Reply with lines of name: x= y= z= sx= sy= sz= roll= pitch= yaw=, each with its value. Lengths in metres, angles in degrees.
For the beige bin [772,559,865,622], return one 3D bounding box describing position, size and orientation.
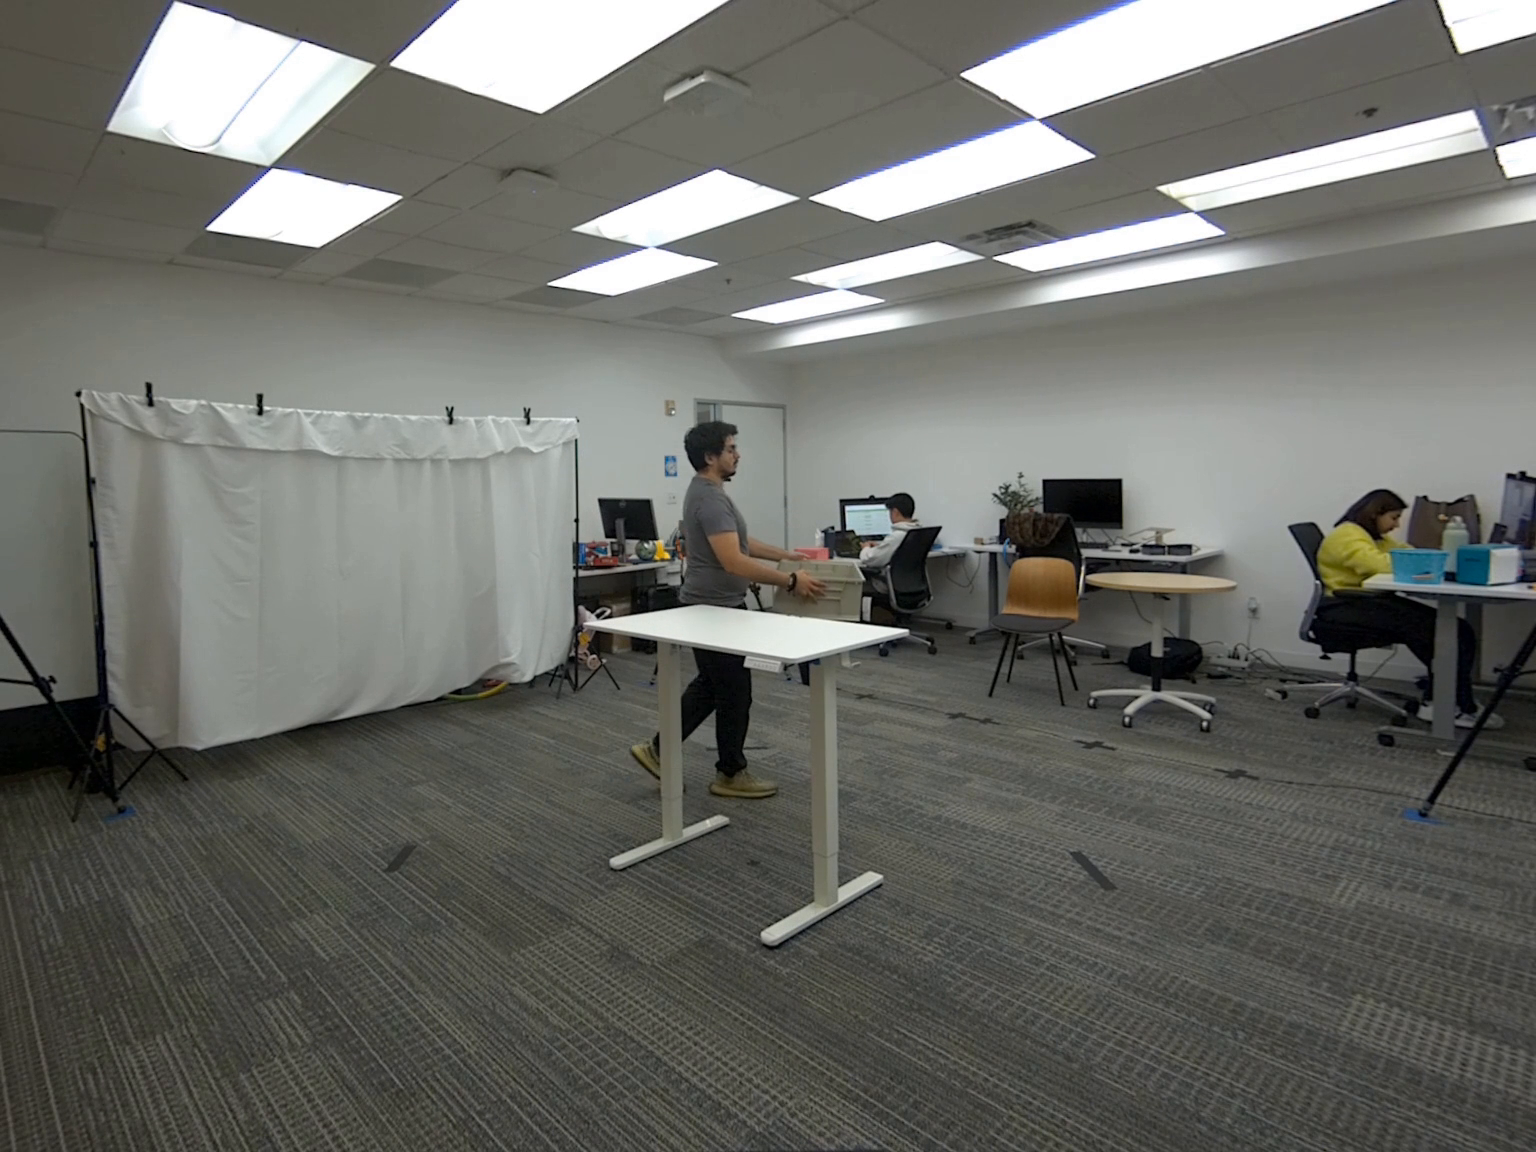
beige bin: x=0.205 y=0.050 z=3.756 sx=0.378 sy=0.187 sz=0.425 roll=4 pitch=10 yaw=0
